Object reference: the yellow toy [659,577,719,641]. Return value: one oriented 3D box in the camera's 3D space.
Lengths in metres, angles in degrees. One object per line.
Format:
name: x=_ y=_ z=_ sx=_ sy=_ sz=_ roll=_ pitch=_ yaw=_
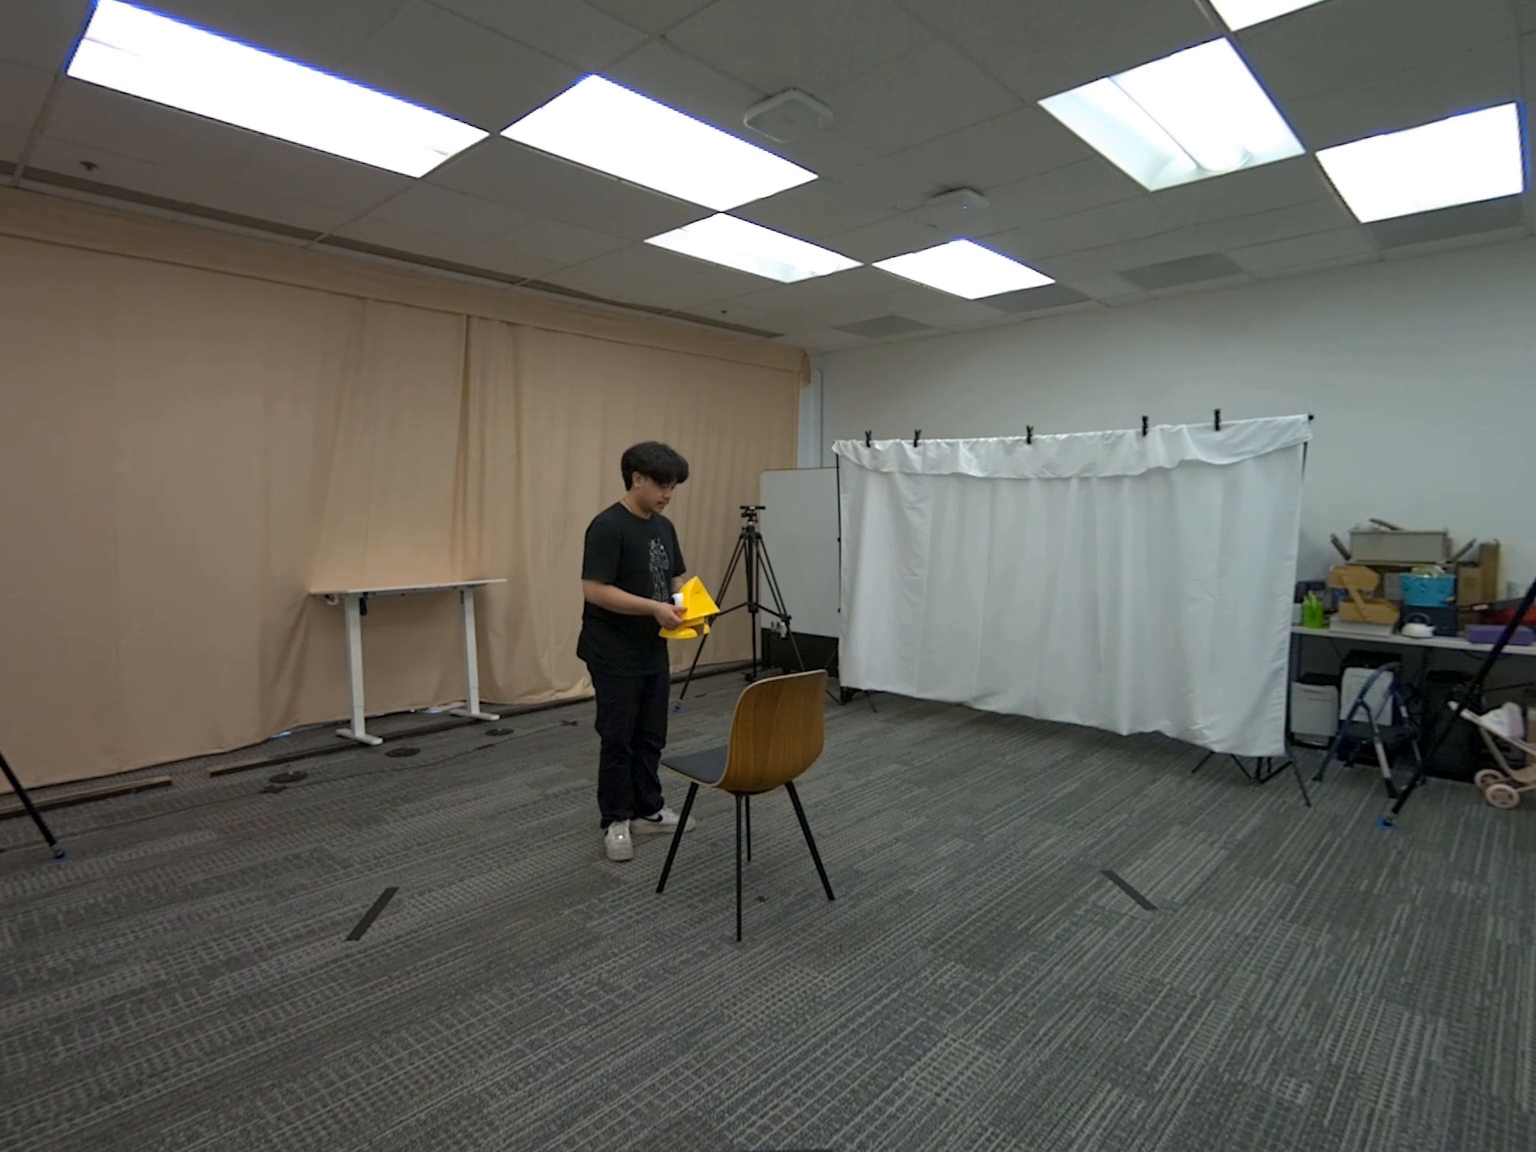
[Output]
yellow toy: x=-0.330 y=0.117 z=3.314 sx=0.199 sy=0.230 sz=0.199 roll=1 pitch=5 yaw=34
